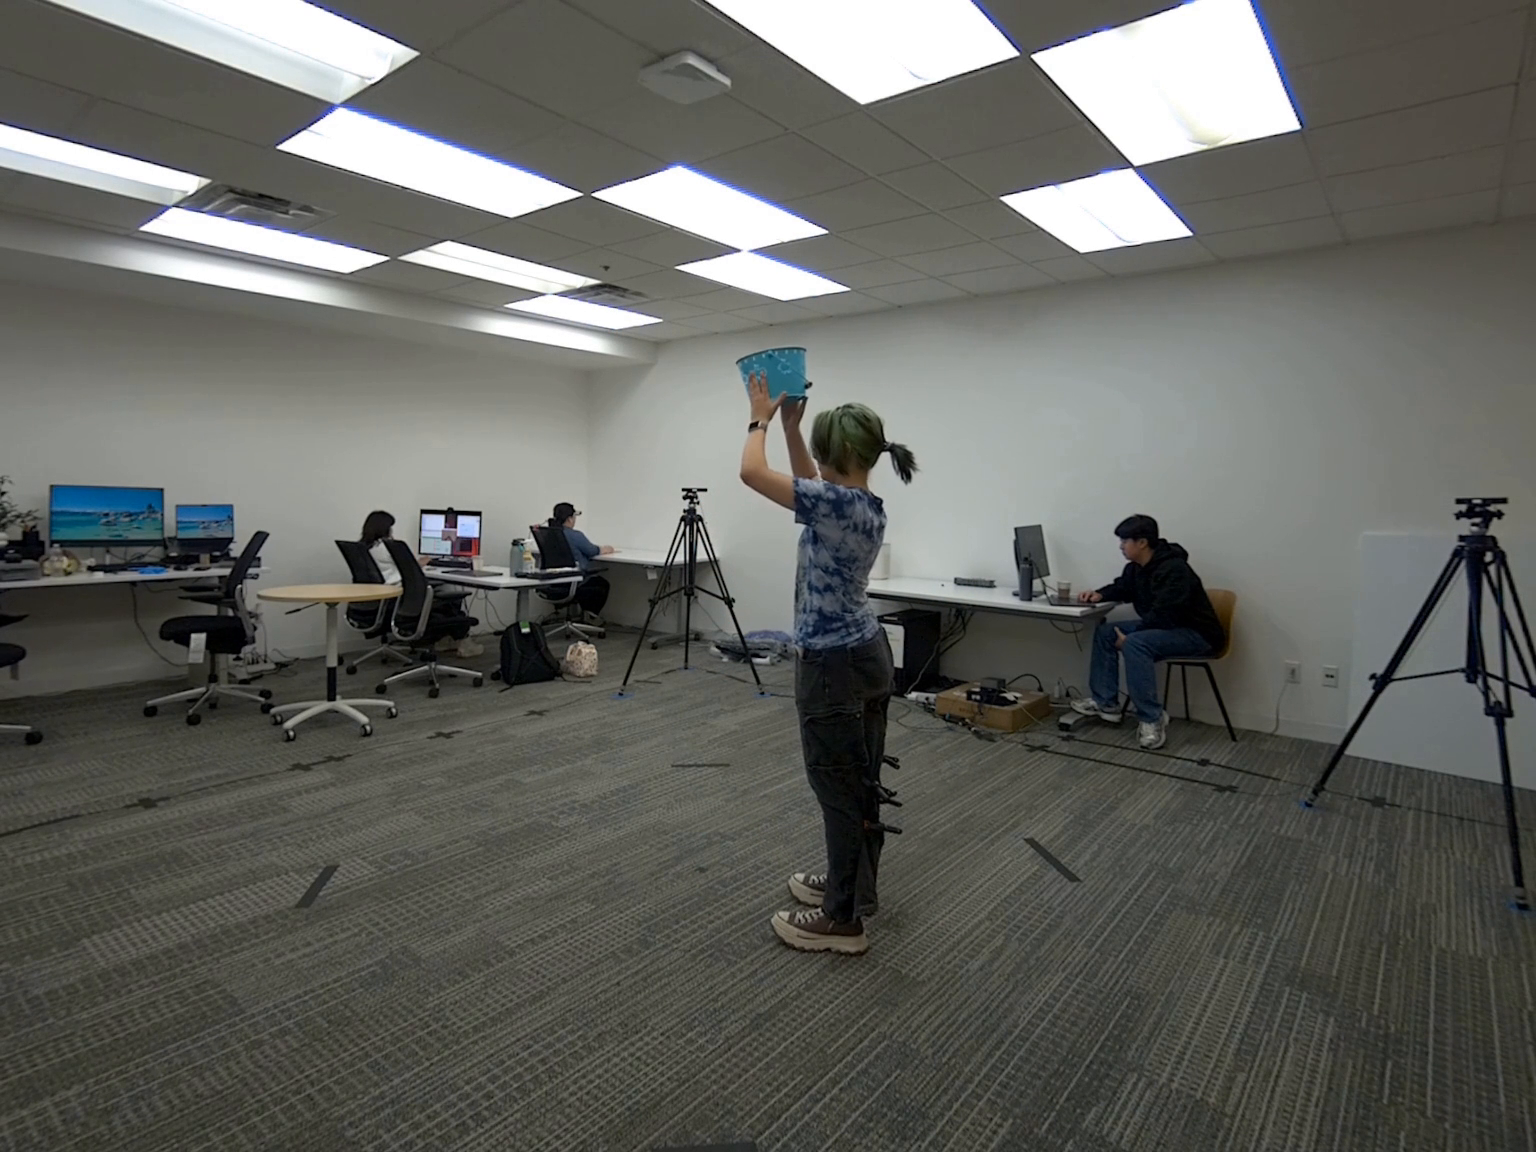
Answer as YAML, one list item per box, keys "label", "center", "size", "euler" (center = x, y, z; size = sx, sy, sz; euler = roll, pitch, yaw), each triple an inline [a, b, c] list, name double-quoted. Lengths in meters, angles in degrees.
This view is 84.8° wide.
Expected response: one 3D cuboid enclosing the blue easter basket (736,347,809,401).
- label: "blue easter basket"
  center: [0.024, -0.638, 2.758]
  size: [0.243, 0.156, 0.244]
  euler: [-9, 2, -2]
